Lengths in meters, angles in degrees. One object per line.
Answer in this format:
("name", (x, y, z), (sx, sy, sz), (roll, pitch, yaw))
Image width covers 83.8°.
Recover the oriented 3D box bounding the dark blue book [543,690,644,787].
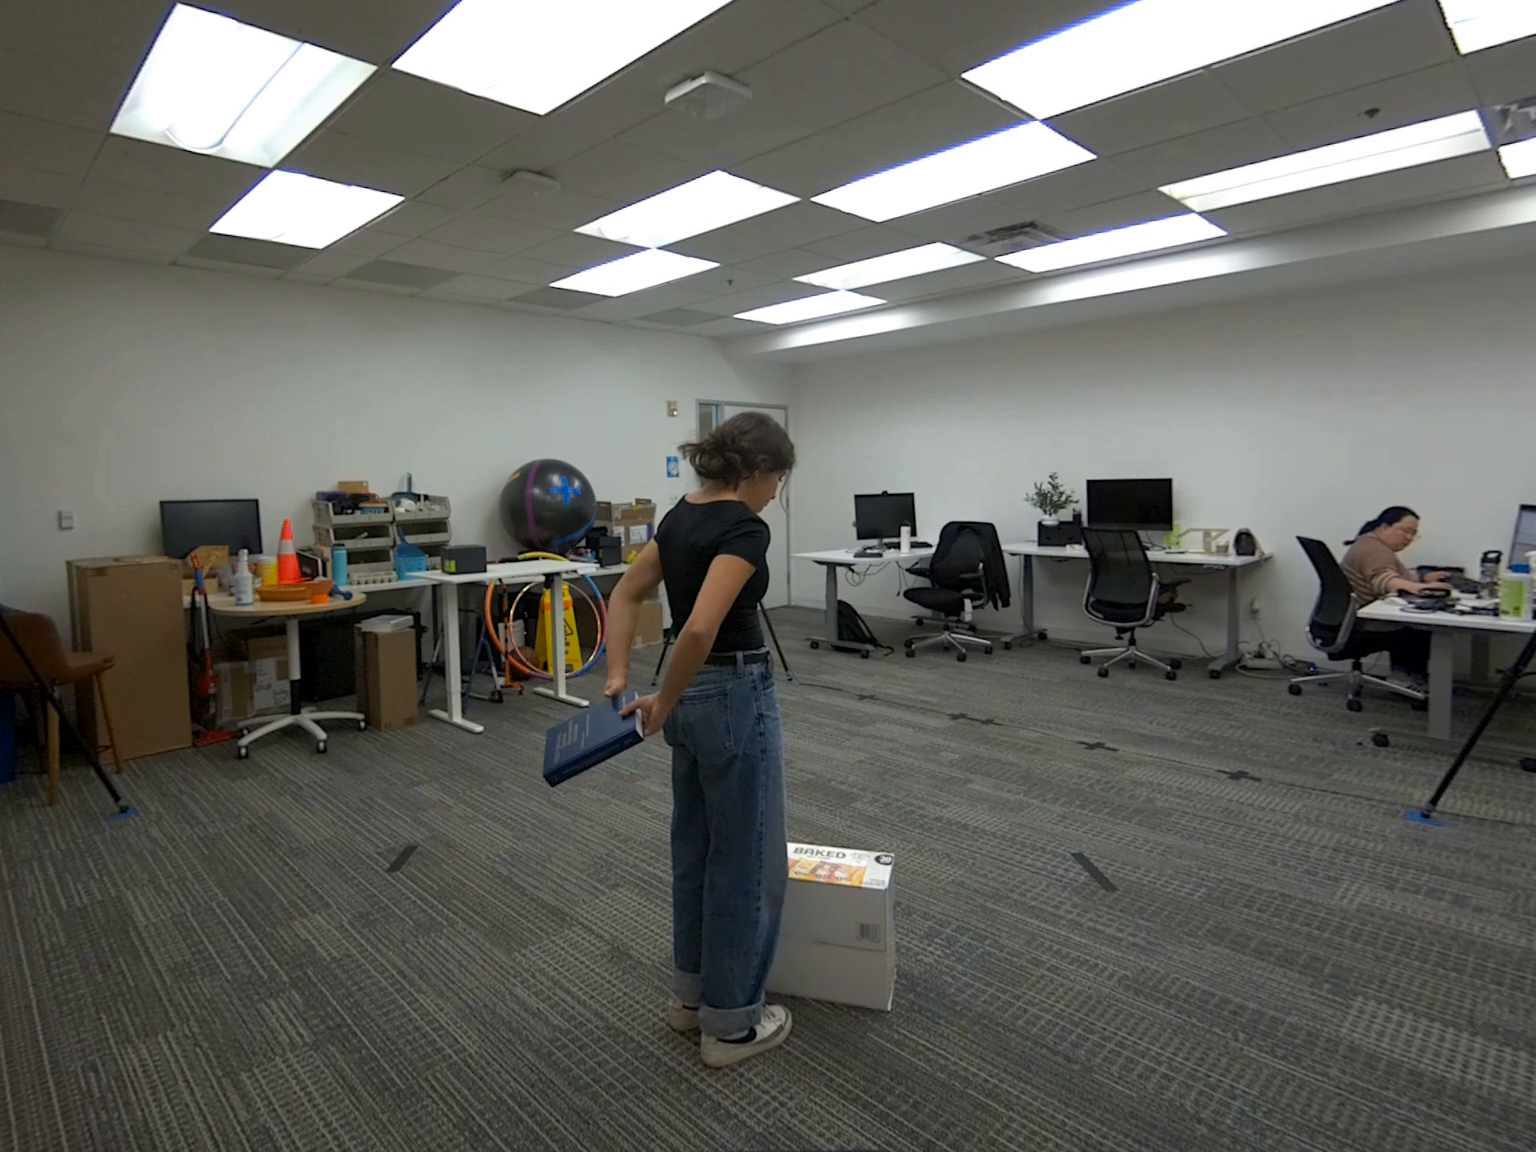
("dark blue book", (-0.400, 0.382, 1.982), (0.246, 0.044, 0.168), (-27, 28, 6))
